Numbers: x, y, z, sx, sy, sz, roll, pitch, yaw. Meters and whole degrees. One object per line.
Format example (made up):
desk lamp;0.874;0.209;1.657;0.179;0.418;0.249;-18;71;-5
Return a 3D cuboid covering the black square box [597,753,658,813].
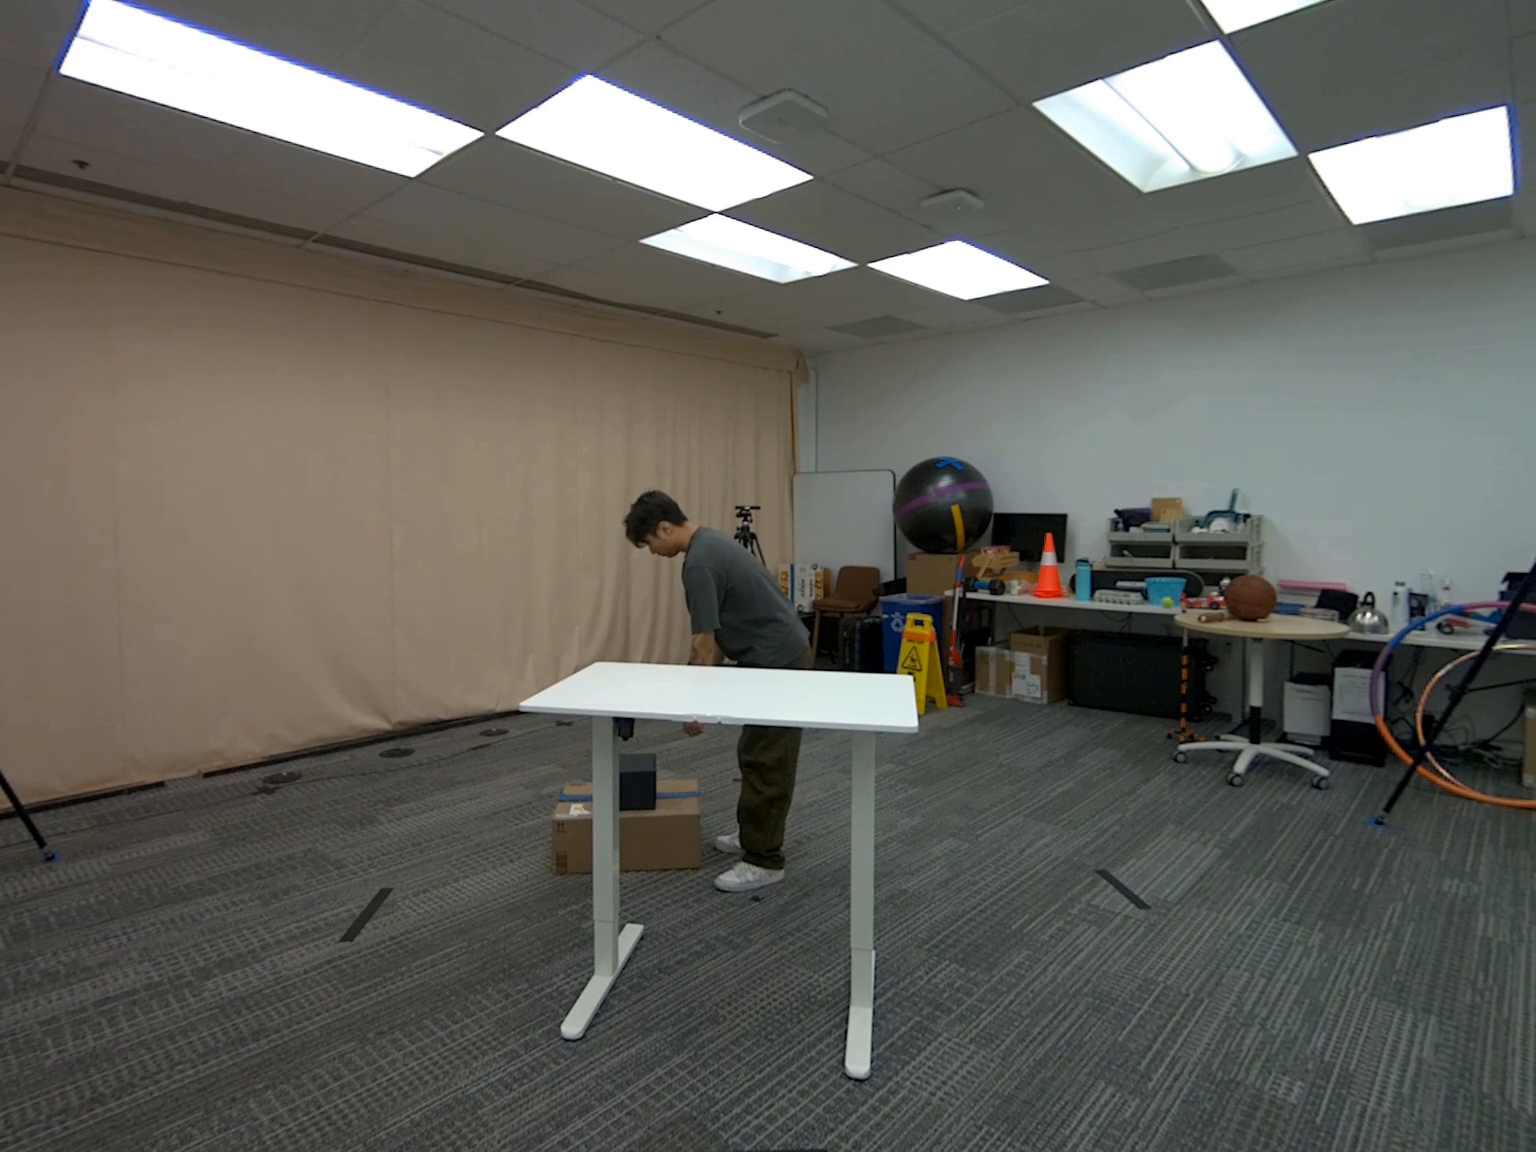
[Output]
black square box;-0.558;0.817;3.368;0.227;0.155;0.219;-2;6;-6
